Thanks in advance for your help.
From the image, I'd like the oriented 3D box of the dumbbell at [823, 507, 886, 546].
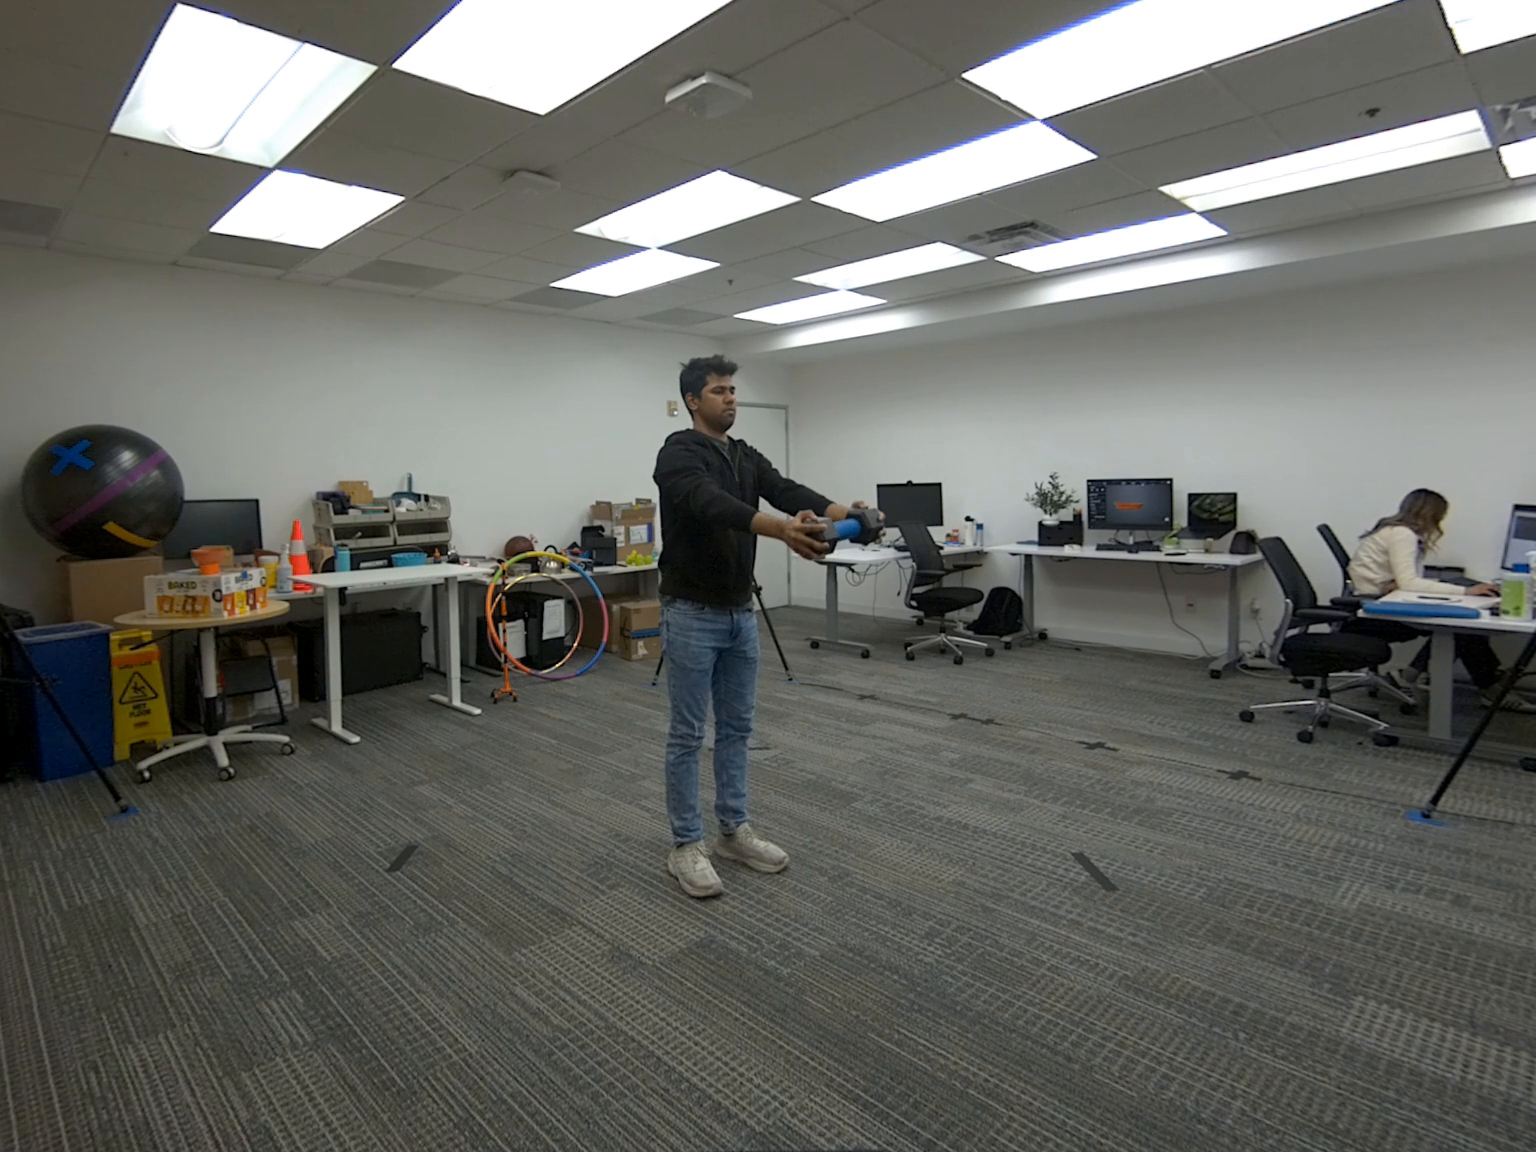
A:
[{"bbox_3d":[0.219,-0.143,2.618,0.287,0.121,0.113,-13,46,-41],"label":"dumbbell"}]
